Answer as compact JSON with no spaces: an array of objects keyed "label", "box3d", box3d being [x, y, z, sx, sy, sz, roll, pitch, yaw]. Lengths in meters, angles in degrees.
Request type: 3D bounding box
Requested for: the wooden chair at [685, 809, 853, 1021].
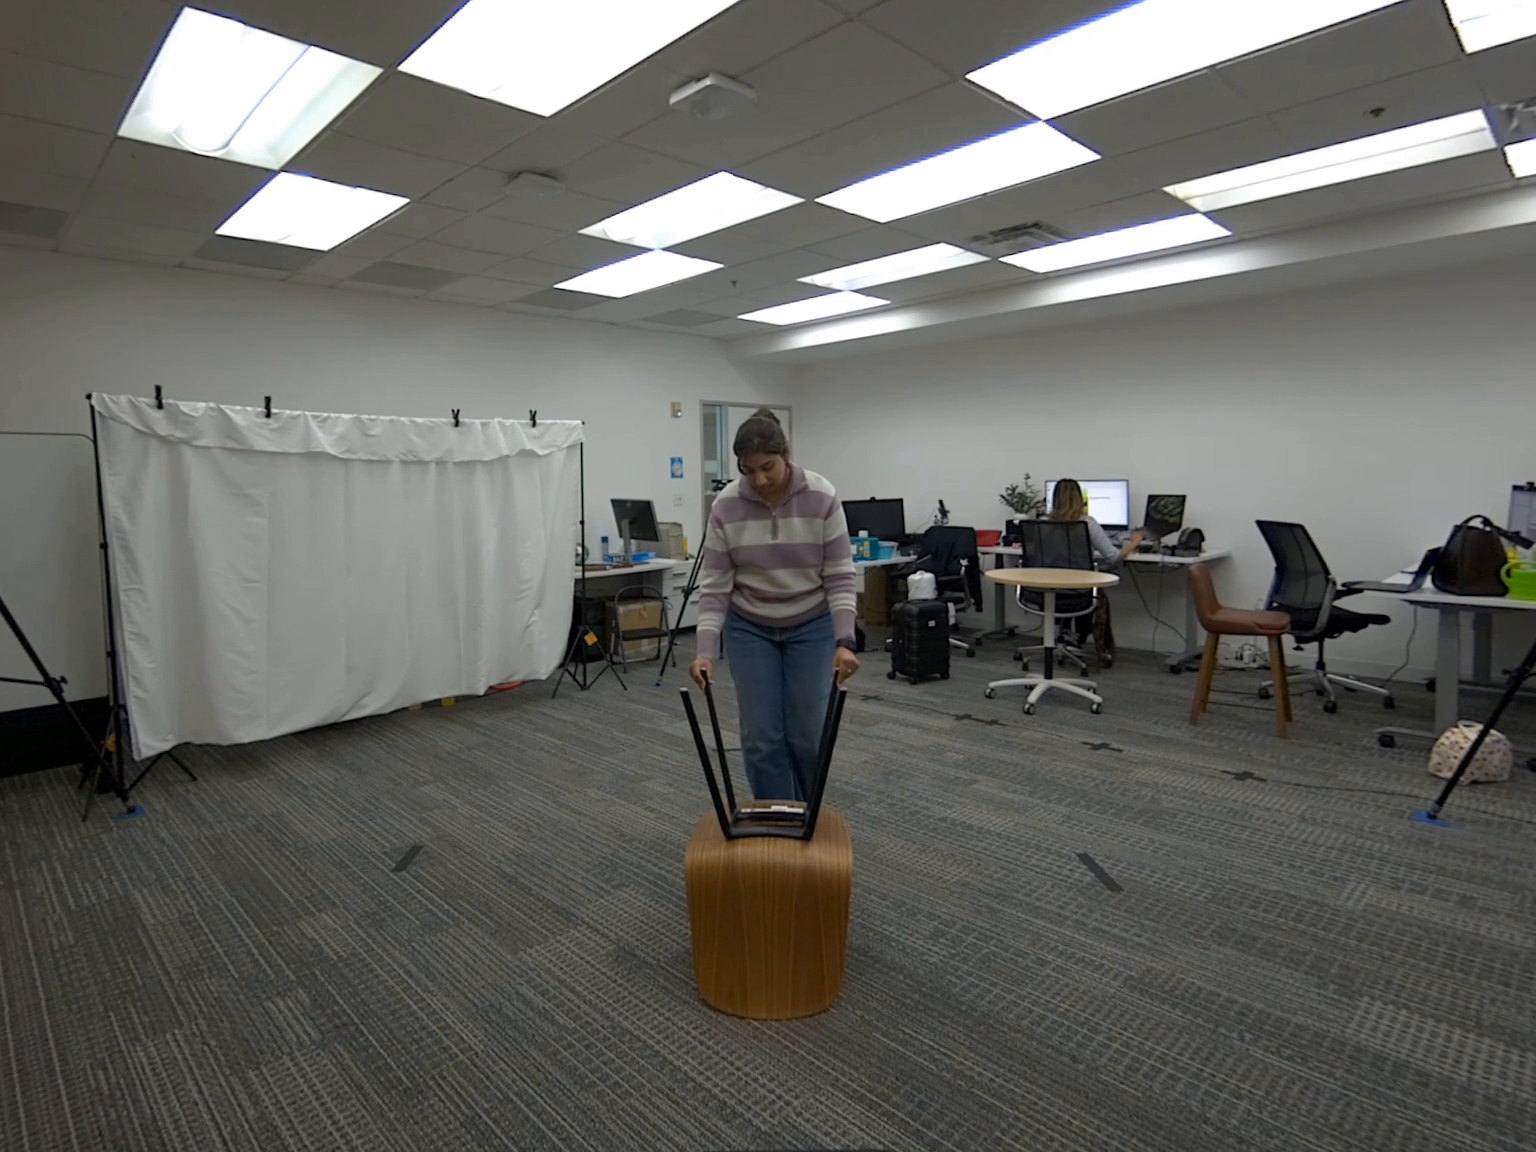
[{"label":"wooden chair","box3d":[0.011,0.737,2.509,0.480,0.882,0.518,-1,-5,4]}]
